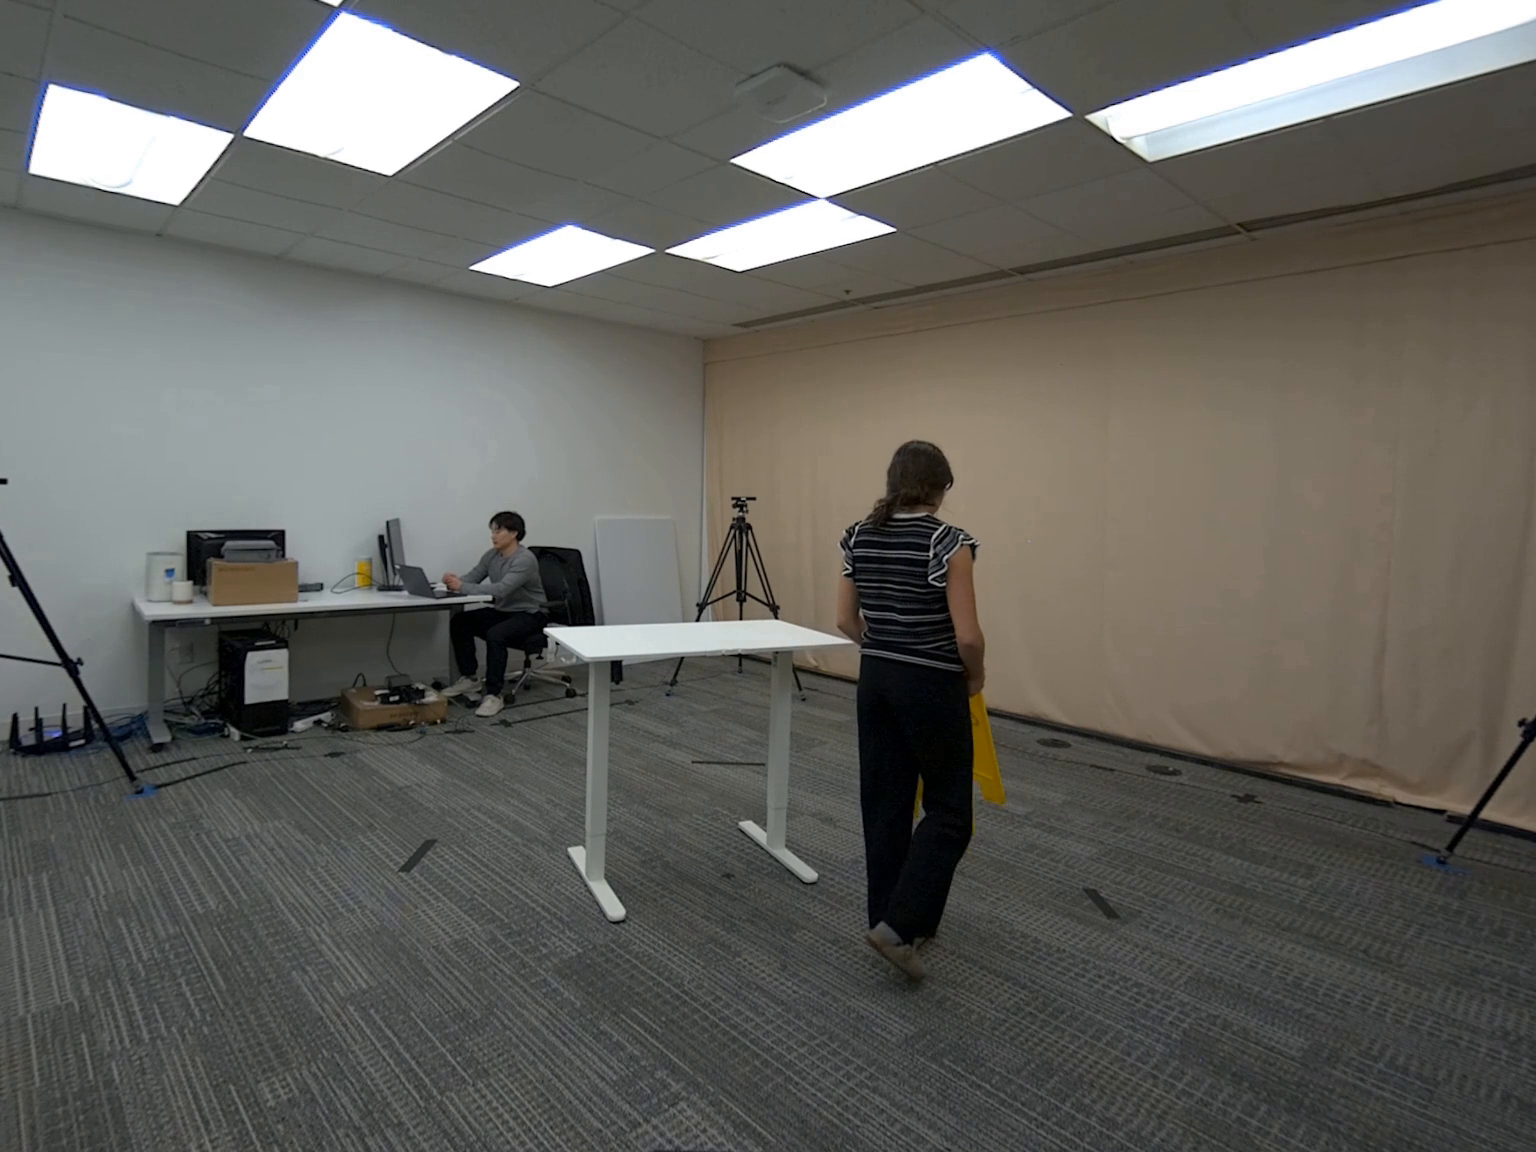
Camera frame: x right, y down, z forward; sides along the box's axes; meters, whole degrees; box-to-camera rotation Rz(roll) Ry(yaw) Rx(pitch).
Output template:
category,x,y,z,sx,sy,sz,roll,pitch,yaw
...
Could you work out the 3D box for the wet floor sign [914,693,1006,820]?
category,x,y,z,sx,sy,sz,roll,pitch,yaw
wet floor sign,0.567,0.467,2.733,0.289,0.640,0.285,3,14,40
